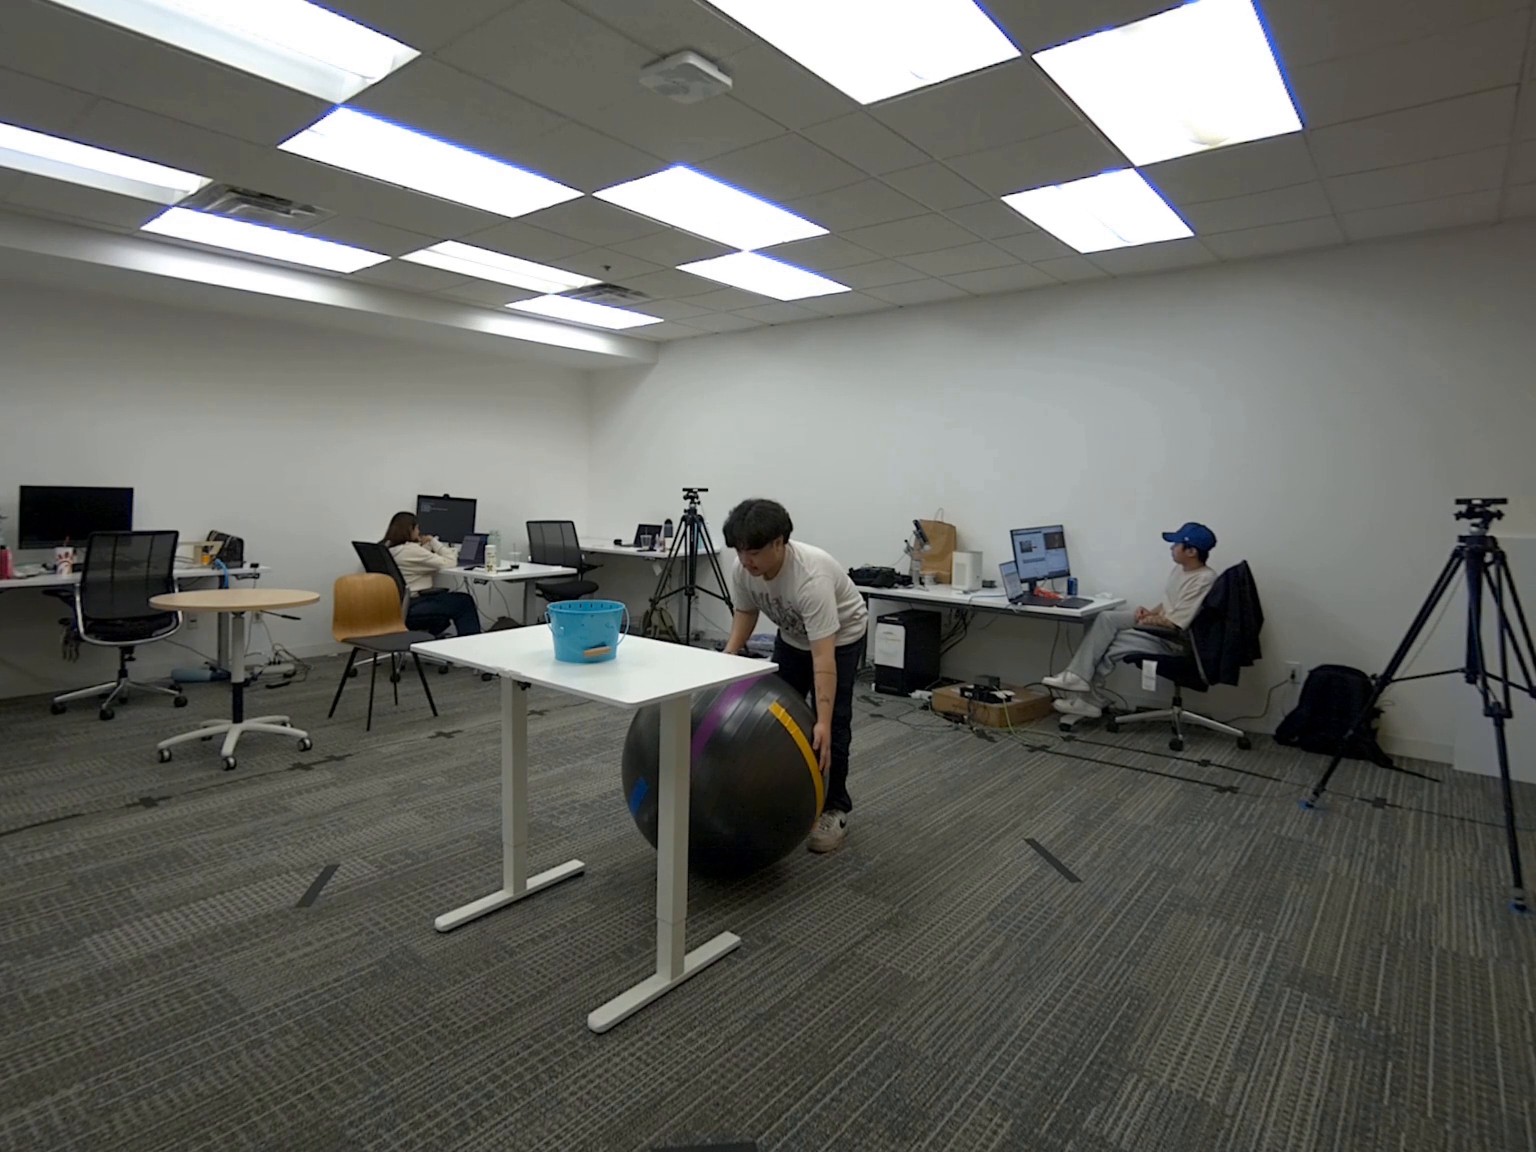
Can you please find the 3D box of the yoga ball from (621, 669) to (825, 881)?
[{"bbox_3d":[-0.167,0.710,3.120,0.757,0.755,0.762,1,4,-2],"label":"yoga ball"}]
